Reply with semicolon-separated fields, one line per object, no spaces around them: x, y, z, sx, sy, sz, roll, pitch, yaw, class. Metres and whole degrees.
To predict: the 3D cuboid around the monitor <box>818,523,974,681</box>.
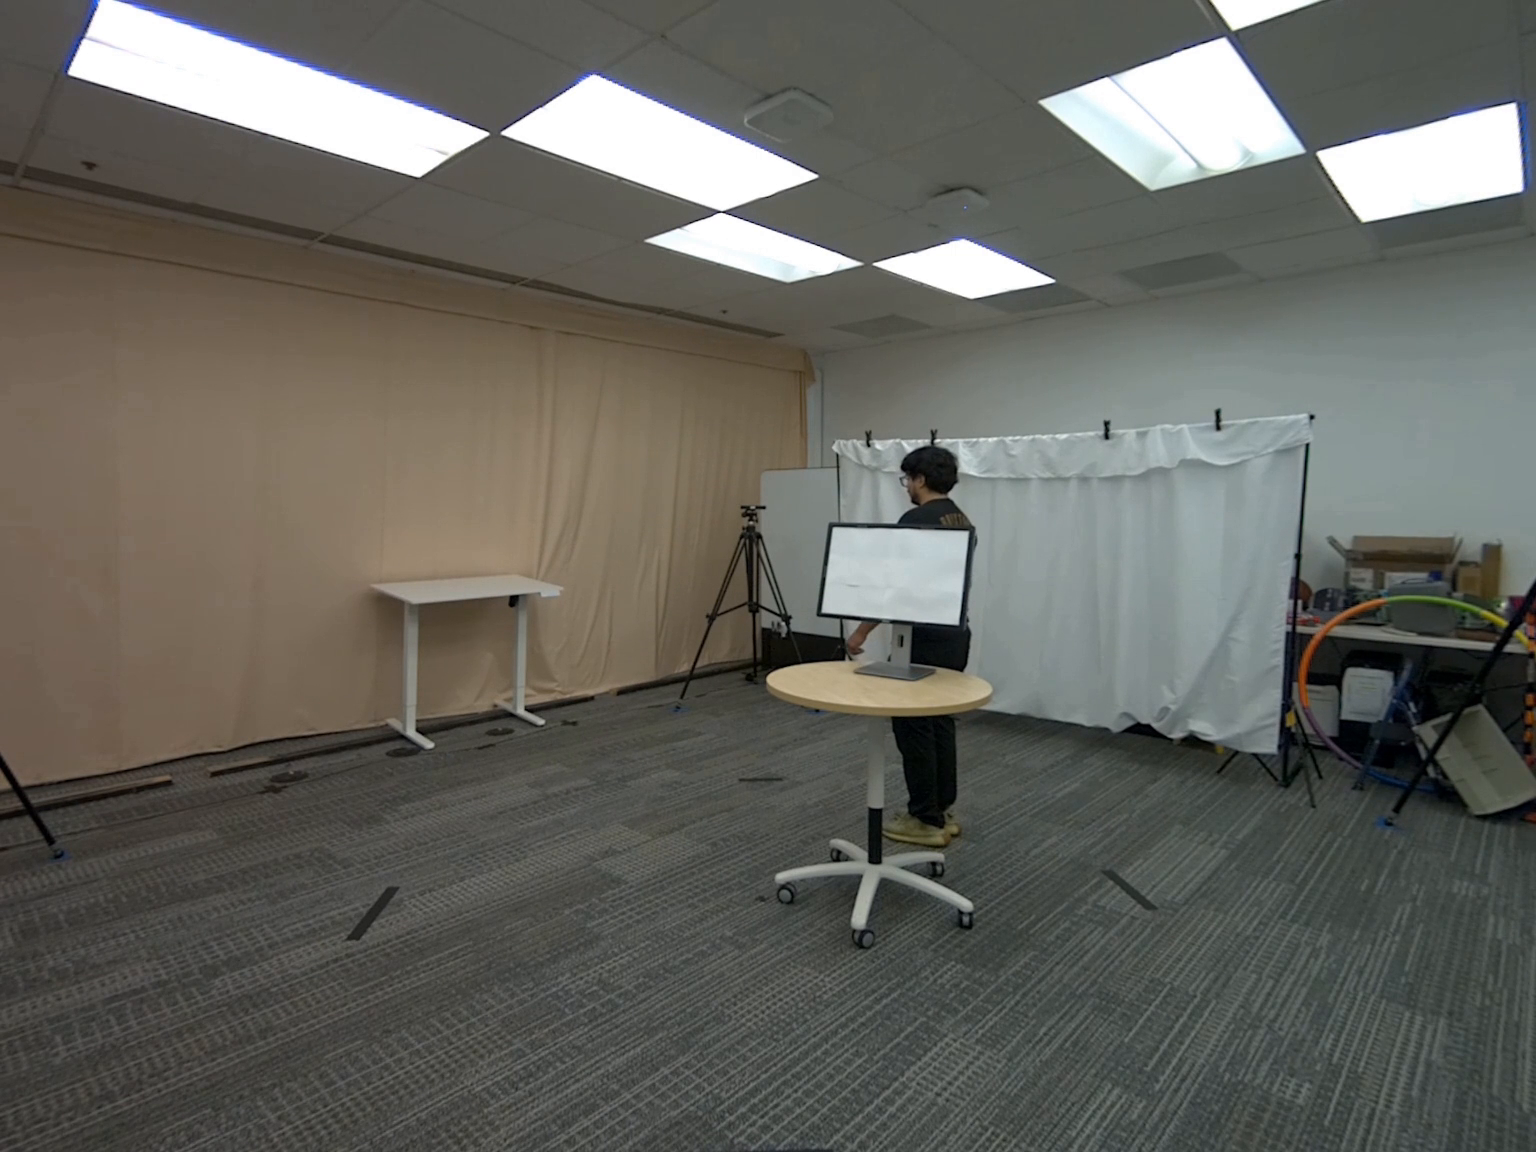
0.486;0.085;3.079;0.583;0.554;0.203;3;-2;34;monitor
